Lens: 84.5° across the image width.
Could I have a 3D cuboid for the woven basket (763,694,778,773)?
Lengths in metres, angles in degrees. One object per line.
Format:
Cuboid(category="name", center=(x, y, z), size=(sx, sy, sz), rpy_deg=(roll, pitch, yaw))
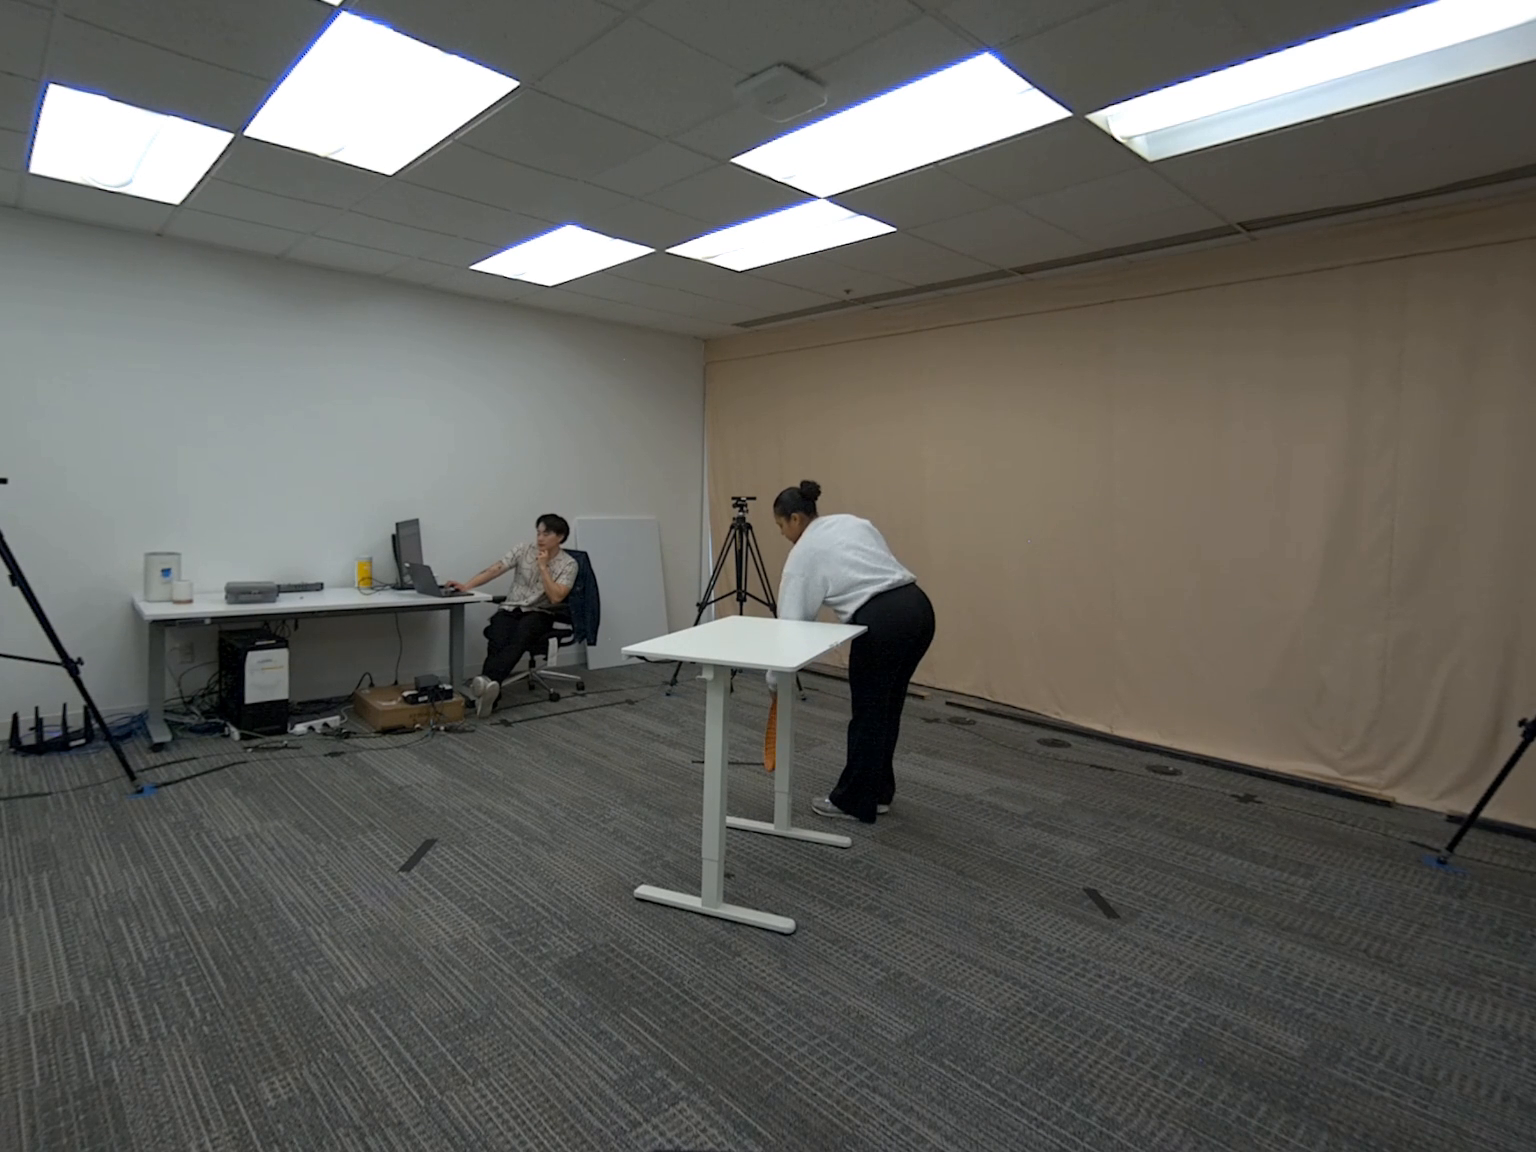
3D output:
Cuboid(category="woven basket", center=(0.038, 0.700, 3.751), size=(0.073, 0.349, 0.254), rpy_deg=(5, 6, -6))
